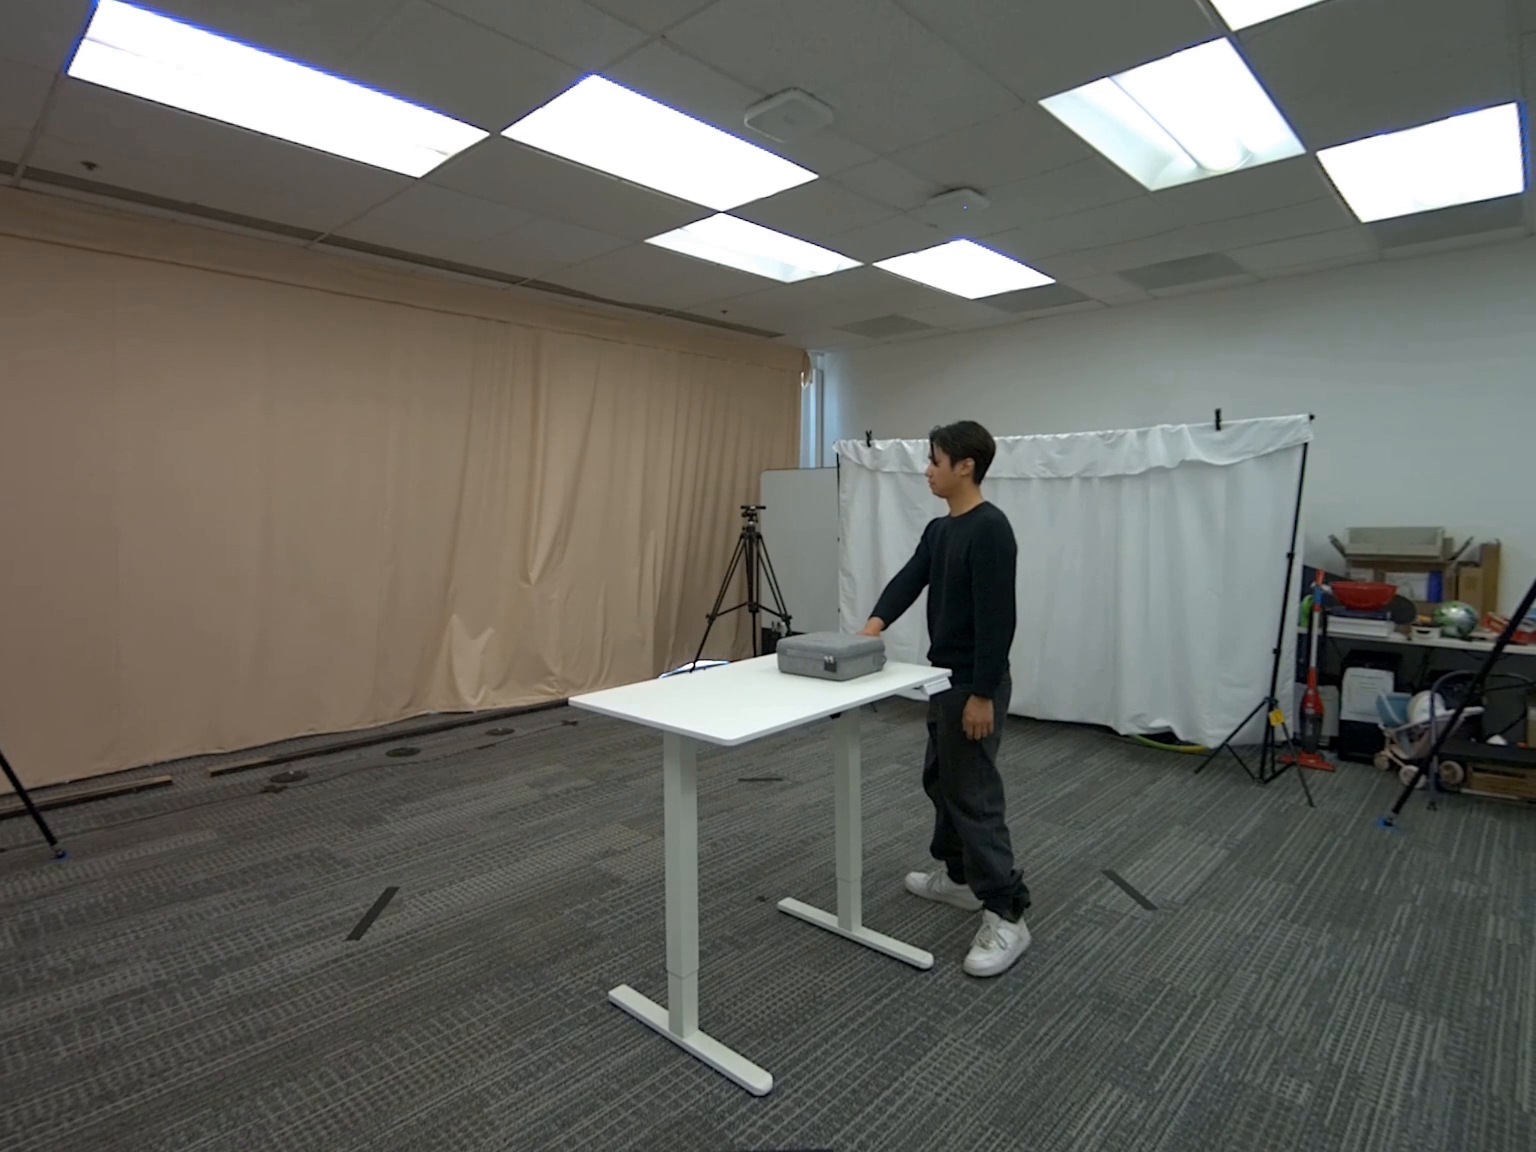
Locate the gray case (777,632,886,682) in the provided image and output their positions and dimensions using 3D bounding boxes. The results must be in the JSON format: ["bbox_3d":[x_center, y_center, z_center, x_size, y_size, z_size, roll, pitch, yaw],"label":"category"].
[{"bbox_3d":[0.194,0.242,2.579,0.265,0.104,0.253,2,5,39],"label":"gray case"}]
